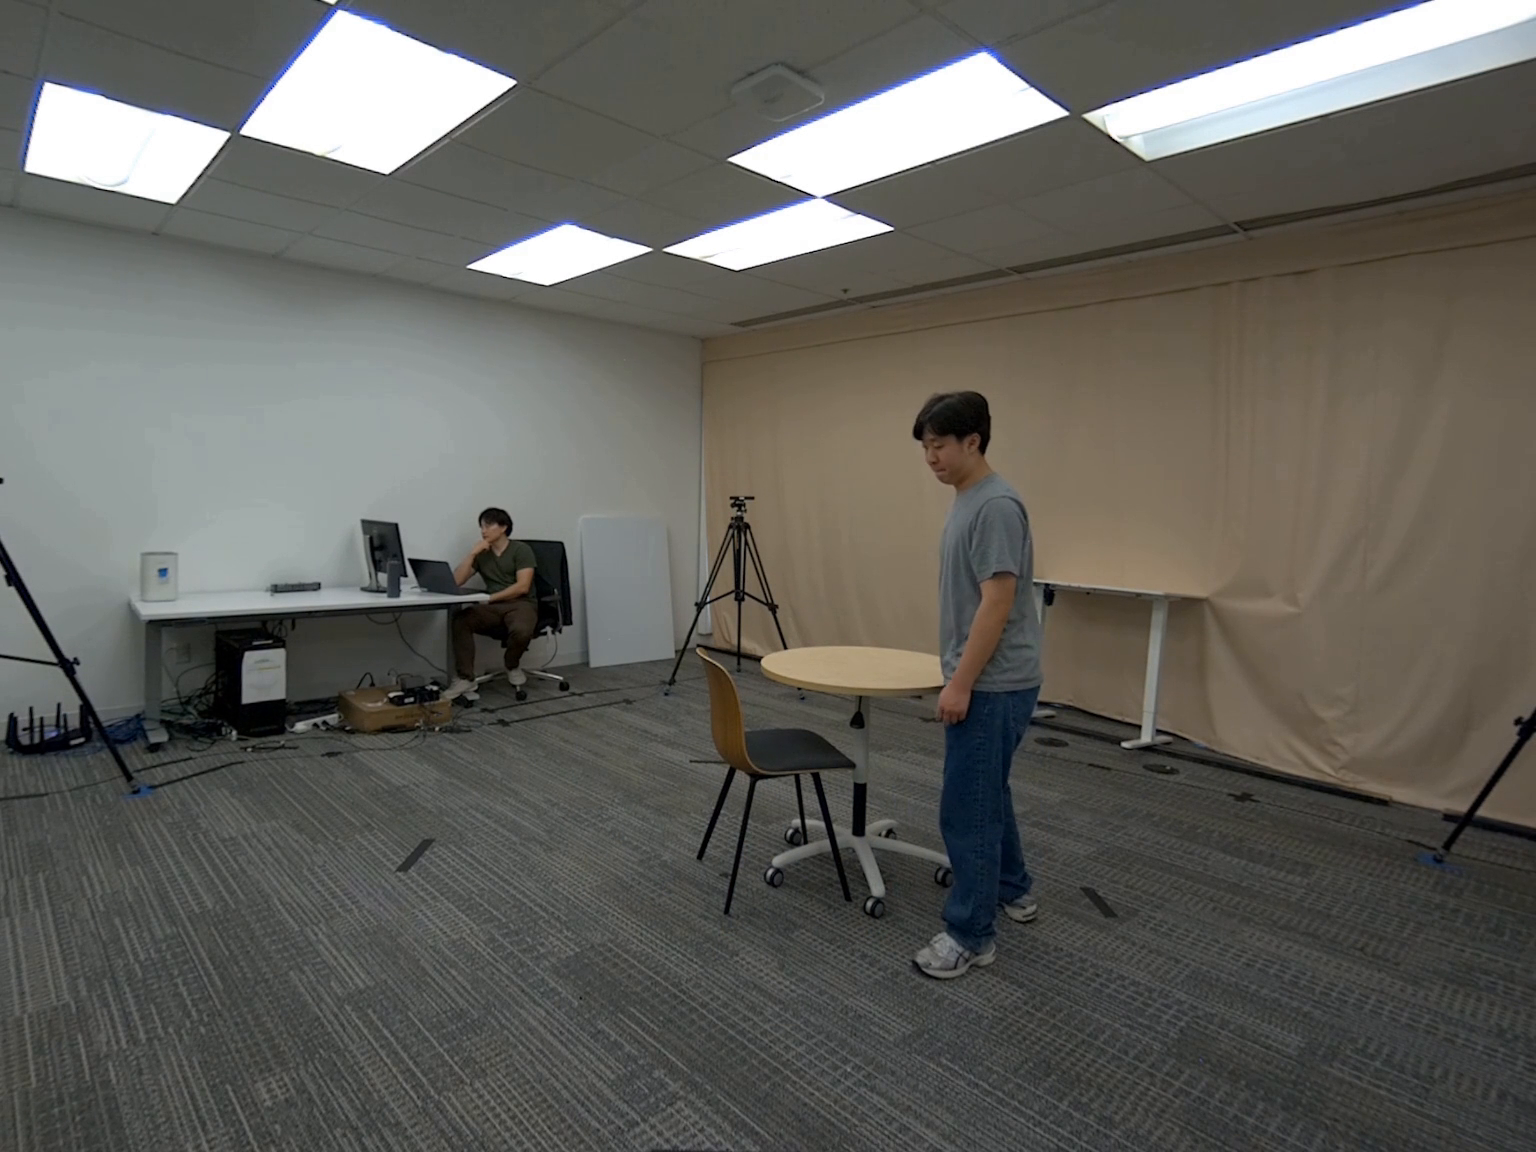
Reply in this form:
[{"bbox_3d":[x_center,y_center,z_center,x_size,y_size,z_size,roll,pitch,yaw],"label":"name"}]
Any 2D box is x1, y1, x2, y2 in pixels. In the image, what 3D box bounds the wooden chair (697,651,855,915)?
[{"bbox_3d":[0.019,0.681,3.048,0.518,0.874,0.485,-4,5,-15],"label":"wooden chair"}]
